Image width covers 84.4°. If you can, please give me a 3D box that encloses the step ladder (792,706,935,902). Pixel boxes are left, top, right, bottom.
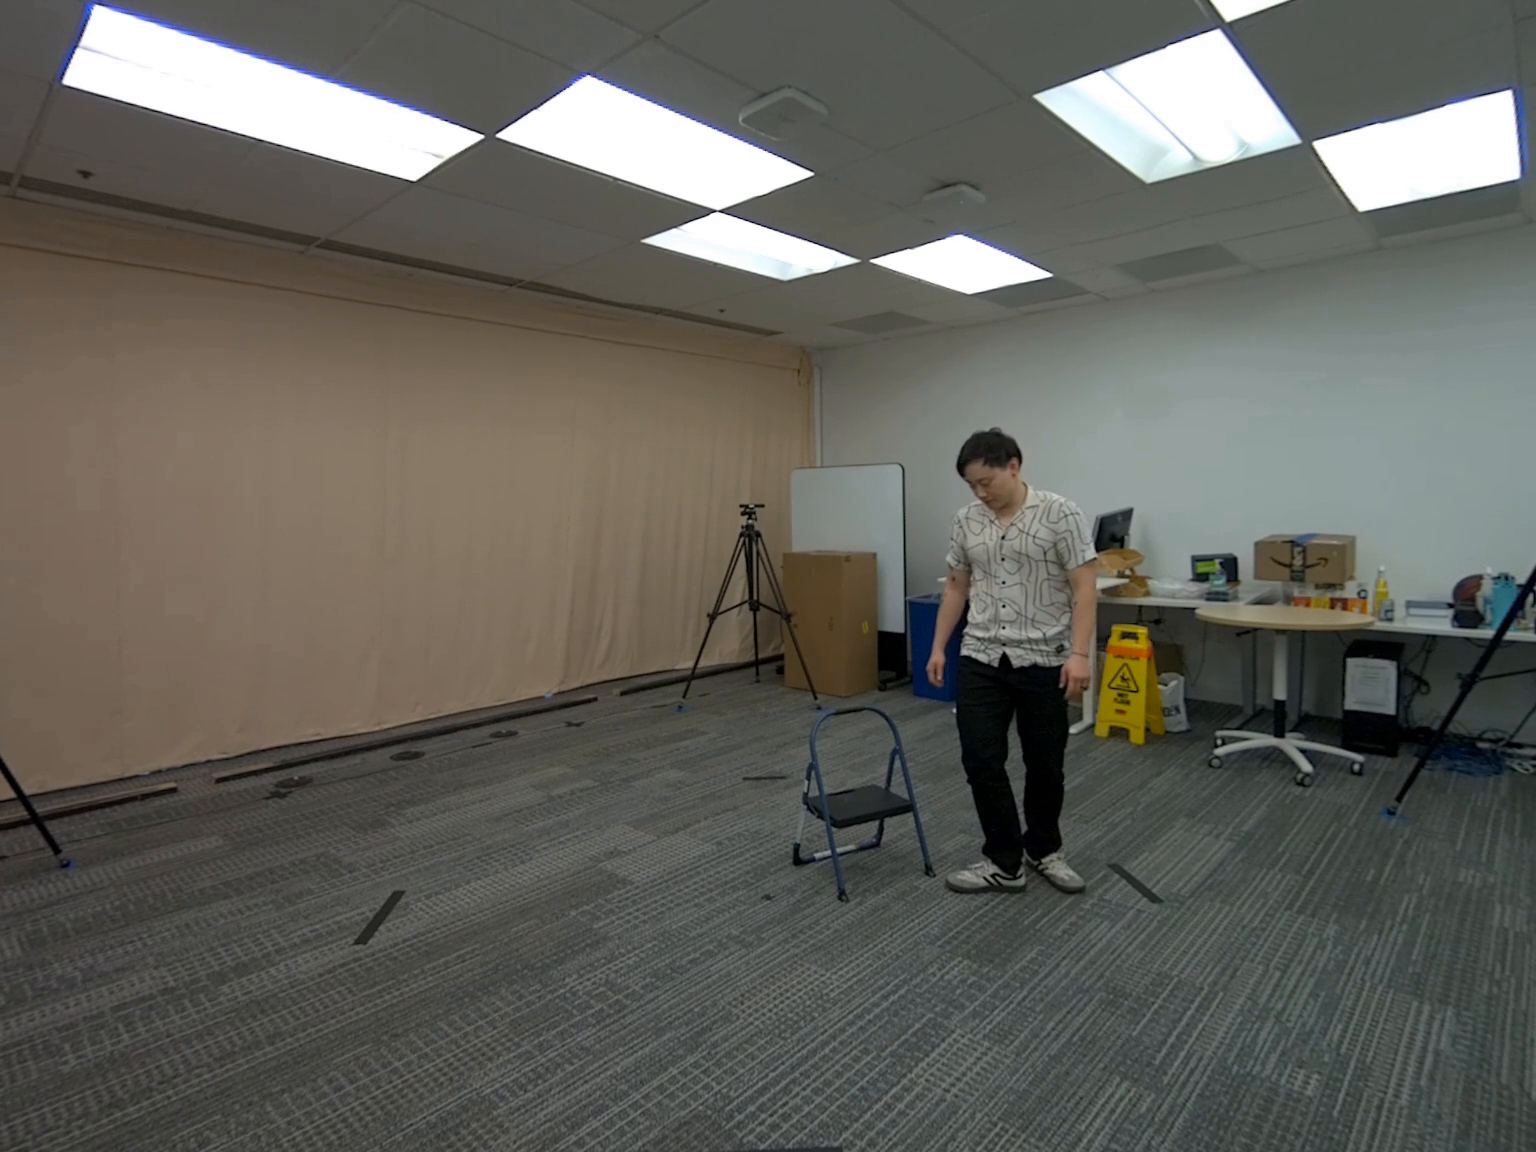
[{"bbox_3d":[0.357,0.812,3.175,0.419,0.605,0.359,-3,4,-29],"label":"step ladder"}]
